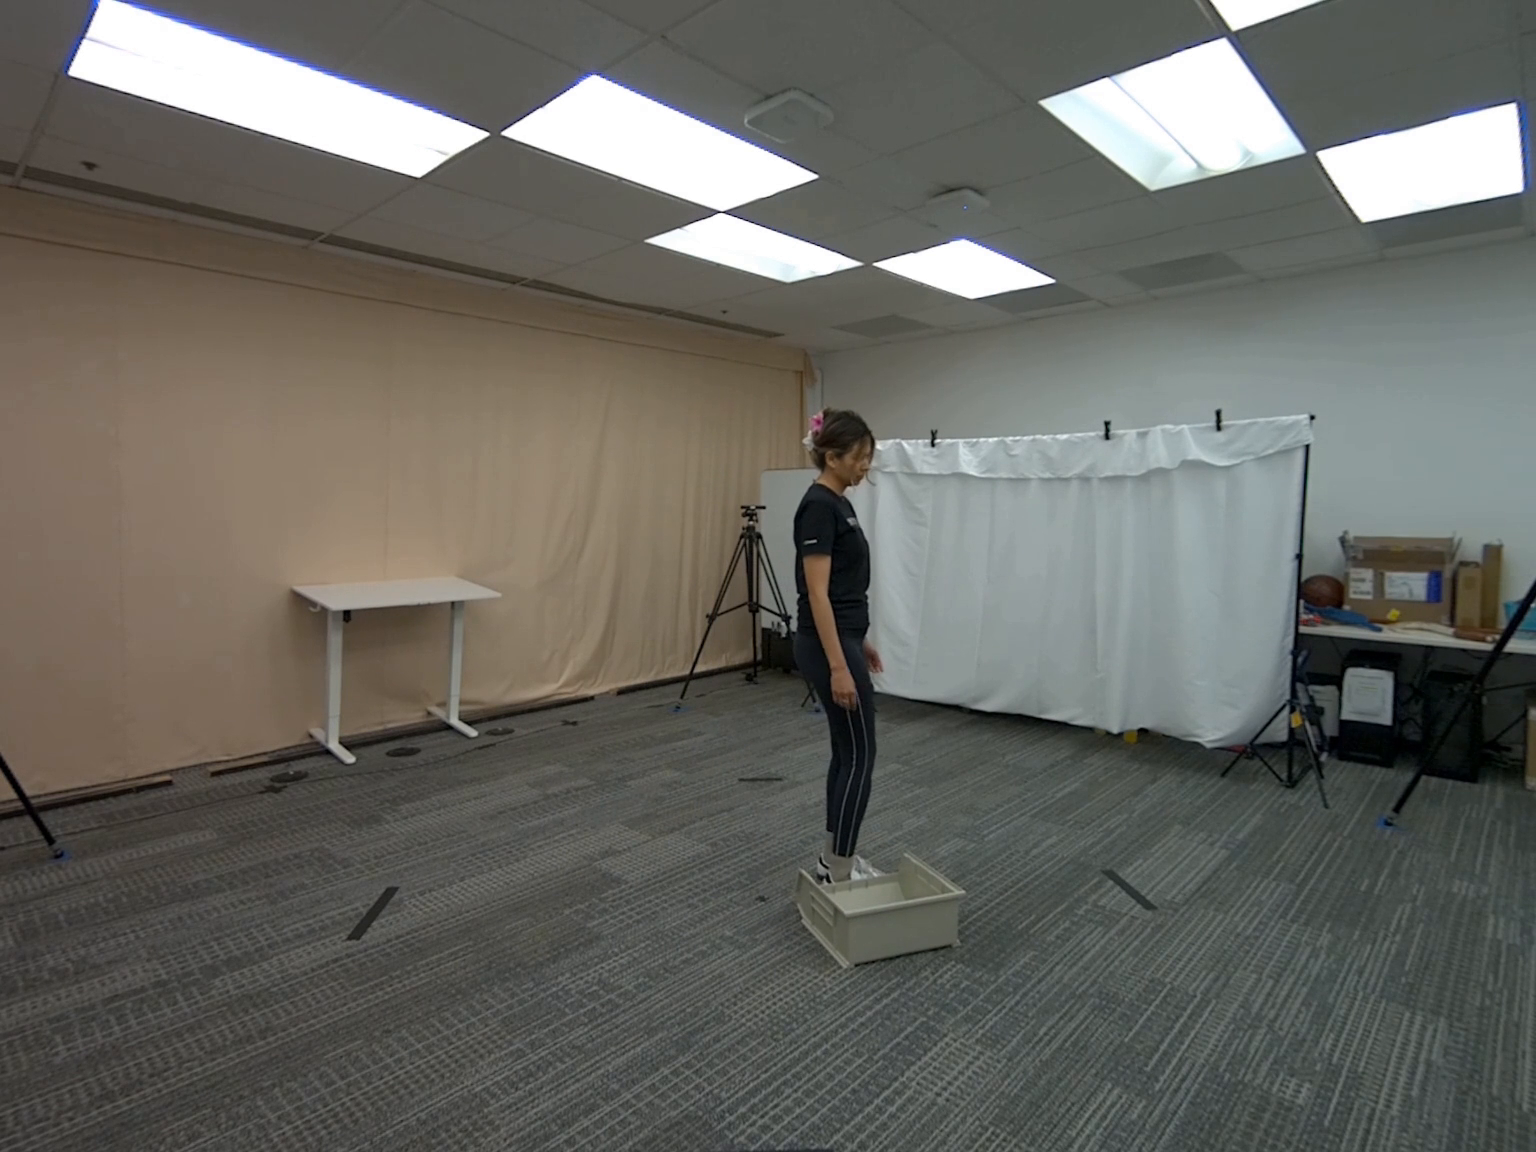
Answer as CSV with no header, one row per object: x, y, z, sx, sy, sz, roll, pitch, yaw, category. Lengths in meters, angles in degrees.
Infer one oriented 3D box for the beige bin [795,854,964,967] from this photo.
0.363,1.072,2.750,0.414,0.188,0.386,-1,5,-21,beige bin
